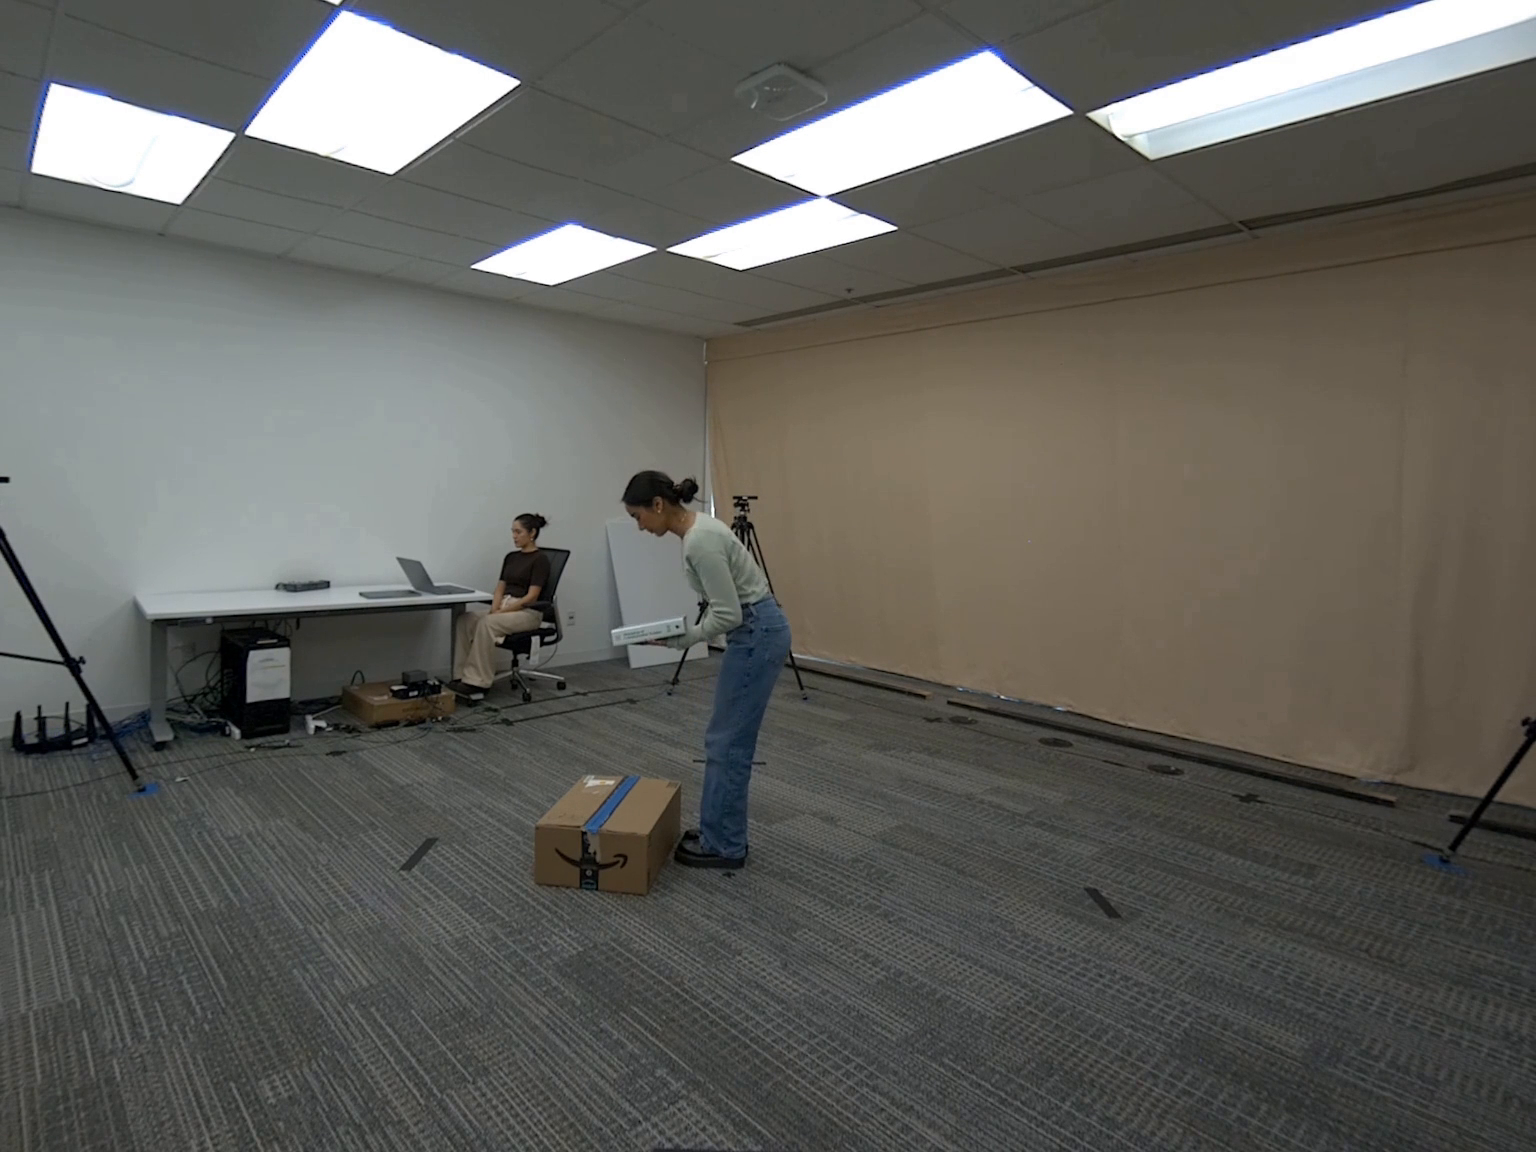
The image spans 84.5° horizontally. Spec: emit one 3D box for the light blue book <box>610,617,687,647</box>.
[{"bbox_3d":[-0.431,0.197,3.082,0.261,0.059,0.191,-10,1,0],"label":"light blue book"}]
